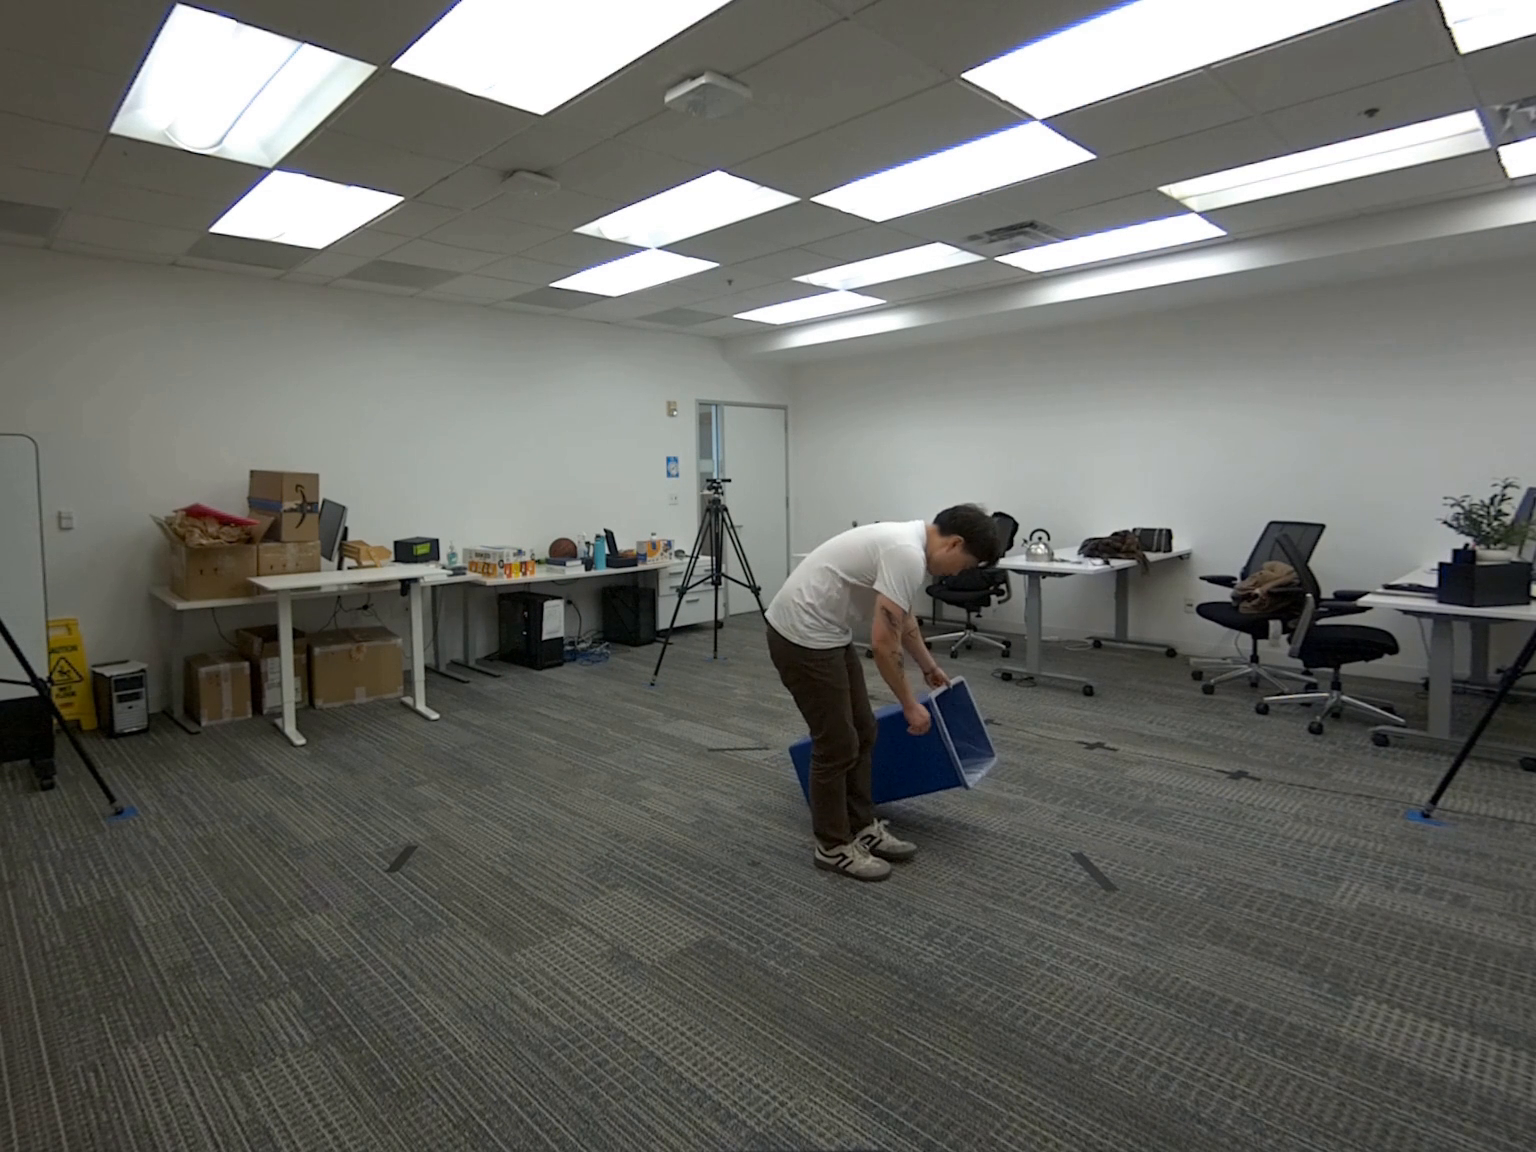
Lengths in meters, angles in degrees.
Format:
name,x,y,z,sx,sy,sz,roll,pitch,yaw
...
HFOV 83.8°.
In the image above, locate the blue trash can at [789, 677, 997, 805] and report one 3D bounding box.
name,x,y,z,sx,sy,sz,roll,pitch,yaw
blue trash can,0.487,0.712,3.479,0.723,0.382,0.366,-25,-8,33
